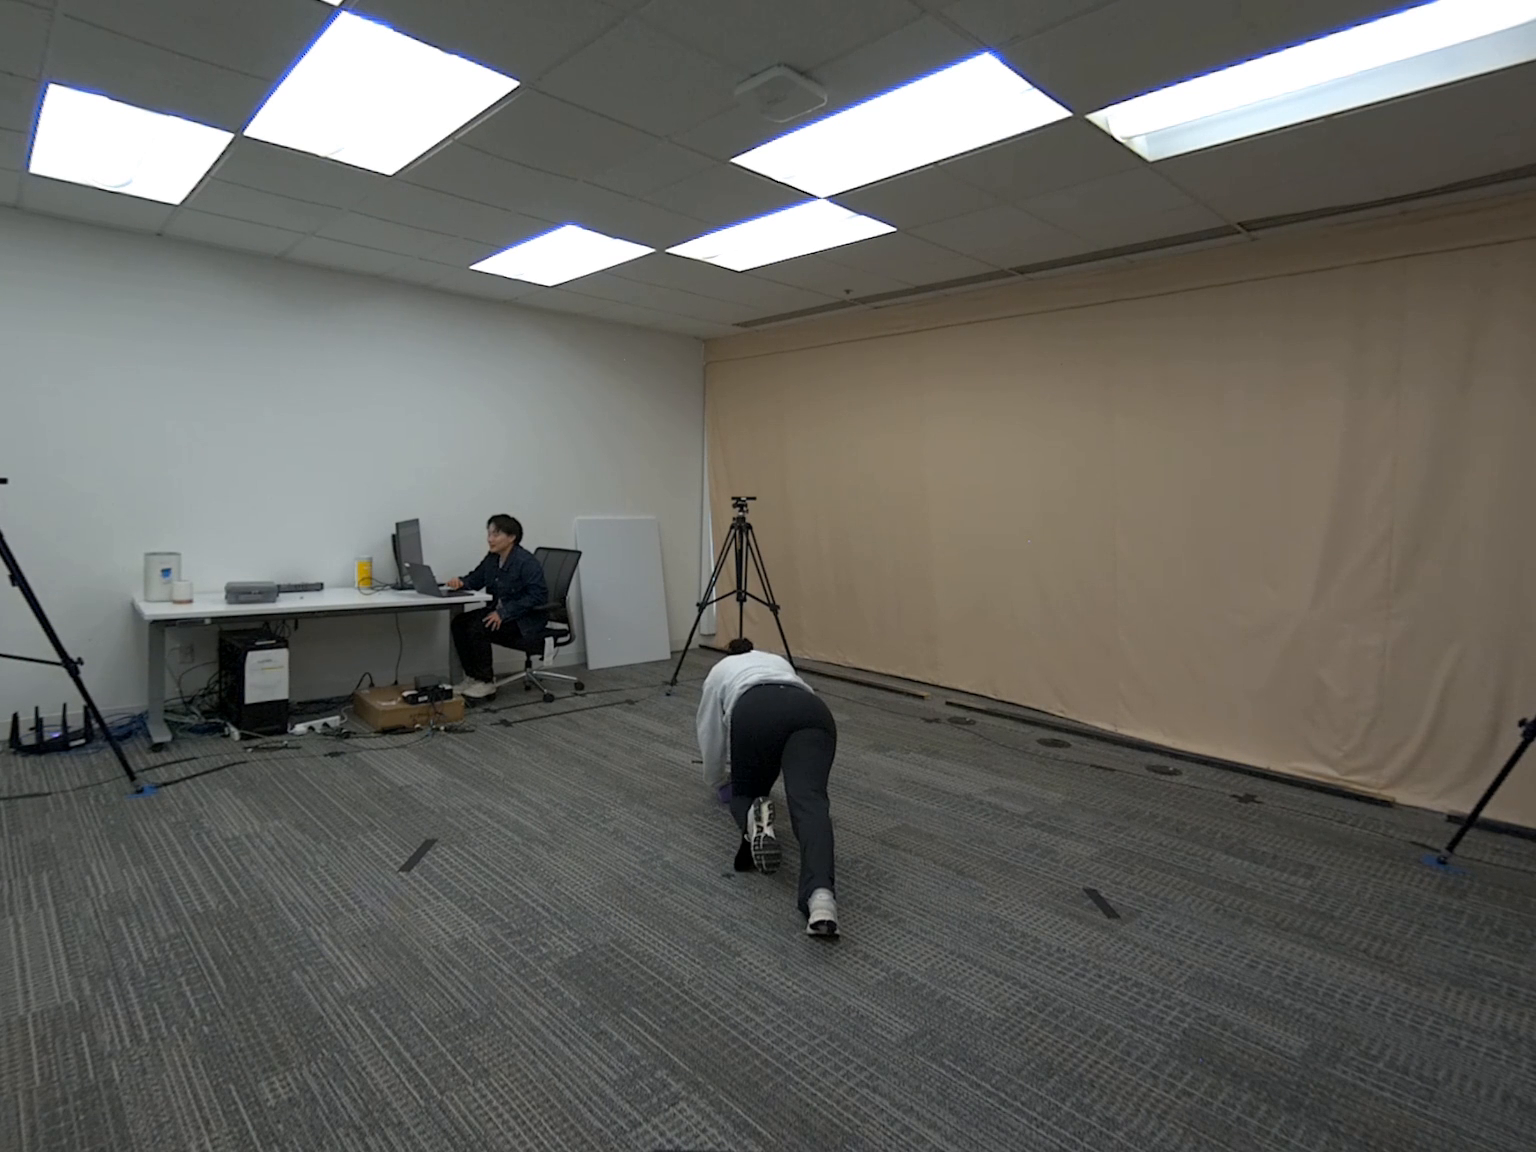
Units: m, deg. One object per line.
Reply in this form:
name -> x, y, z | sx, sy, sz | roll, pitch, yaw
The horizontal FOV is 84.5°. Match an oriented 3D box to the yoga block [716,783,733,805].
yoga block -> -0.128, 1.006, 3.946 | 0.227, 0.076, 0.151 | 0, 5, -12
